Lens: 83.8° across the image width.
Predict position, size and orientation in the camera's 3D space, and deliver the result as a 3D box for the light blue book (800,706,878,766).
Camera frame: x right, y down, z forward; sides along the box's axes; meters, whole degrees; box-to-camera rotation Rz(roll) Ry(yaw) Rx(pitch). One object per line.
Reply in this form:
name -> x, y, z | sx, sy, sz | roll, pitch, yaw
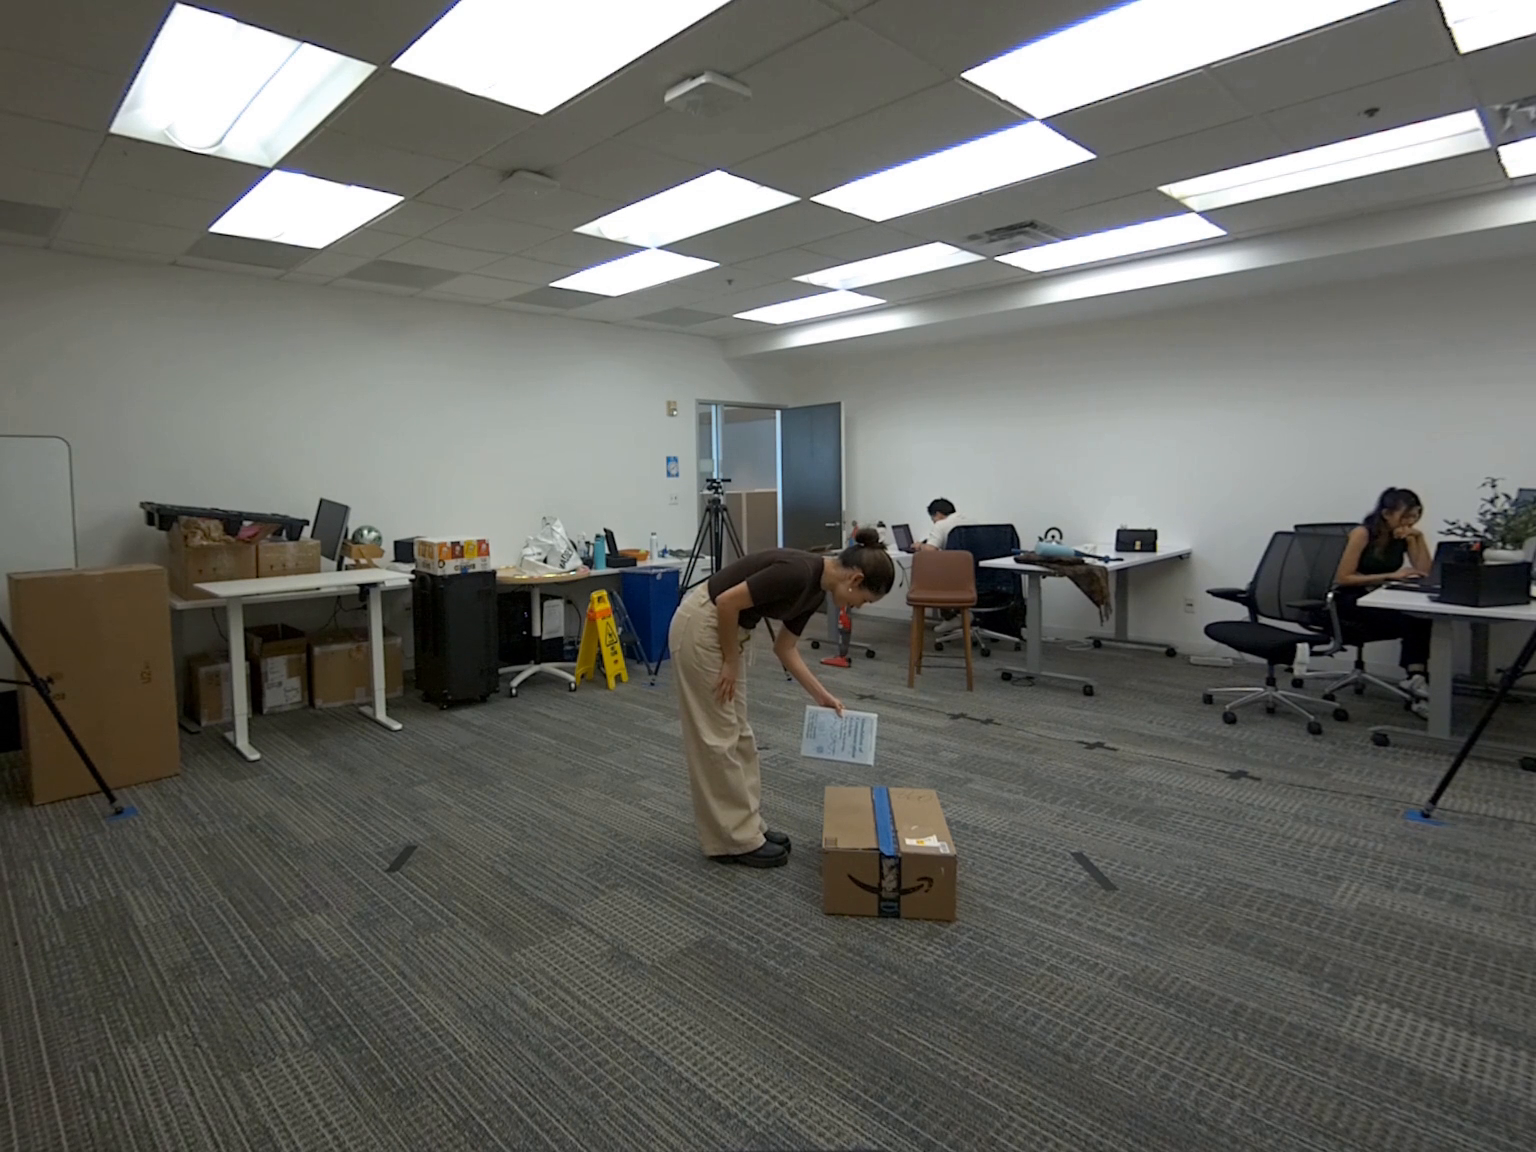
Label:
light blue book -> 0.255, 0.585, 3.122 | 0.264, 0.194, 0.057 | 4, -22, 9
